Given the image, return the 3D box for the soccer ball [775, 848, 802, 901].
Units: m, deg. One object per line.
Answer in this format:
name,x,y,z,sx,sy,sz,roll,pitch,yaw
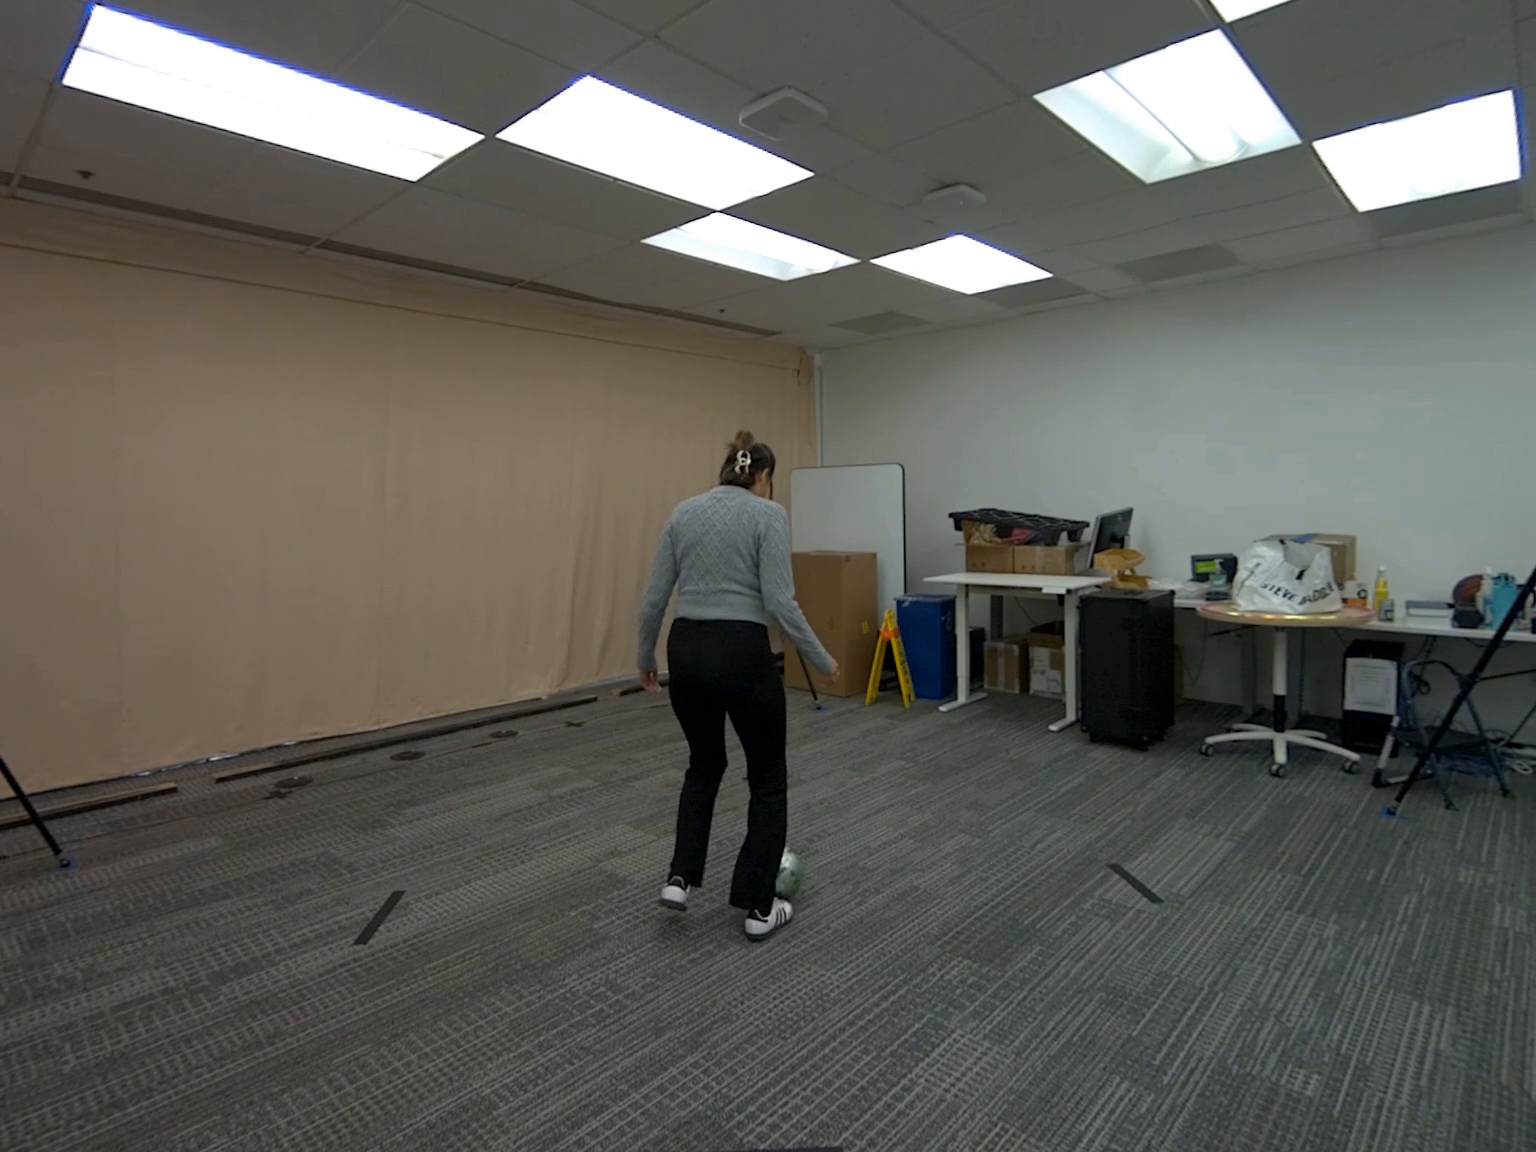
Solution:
soccer ball,0.037,1.041,2.992,0.187,0.187,0.188,-1,4,-2
